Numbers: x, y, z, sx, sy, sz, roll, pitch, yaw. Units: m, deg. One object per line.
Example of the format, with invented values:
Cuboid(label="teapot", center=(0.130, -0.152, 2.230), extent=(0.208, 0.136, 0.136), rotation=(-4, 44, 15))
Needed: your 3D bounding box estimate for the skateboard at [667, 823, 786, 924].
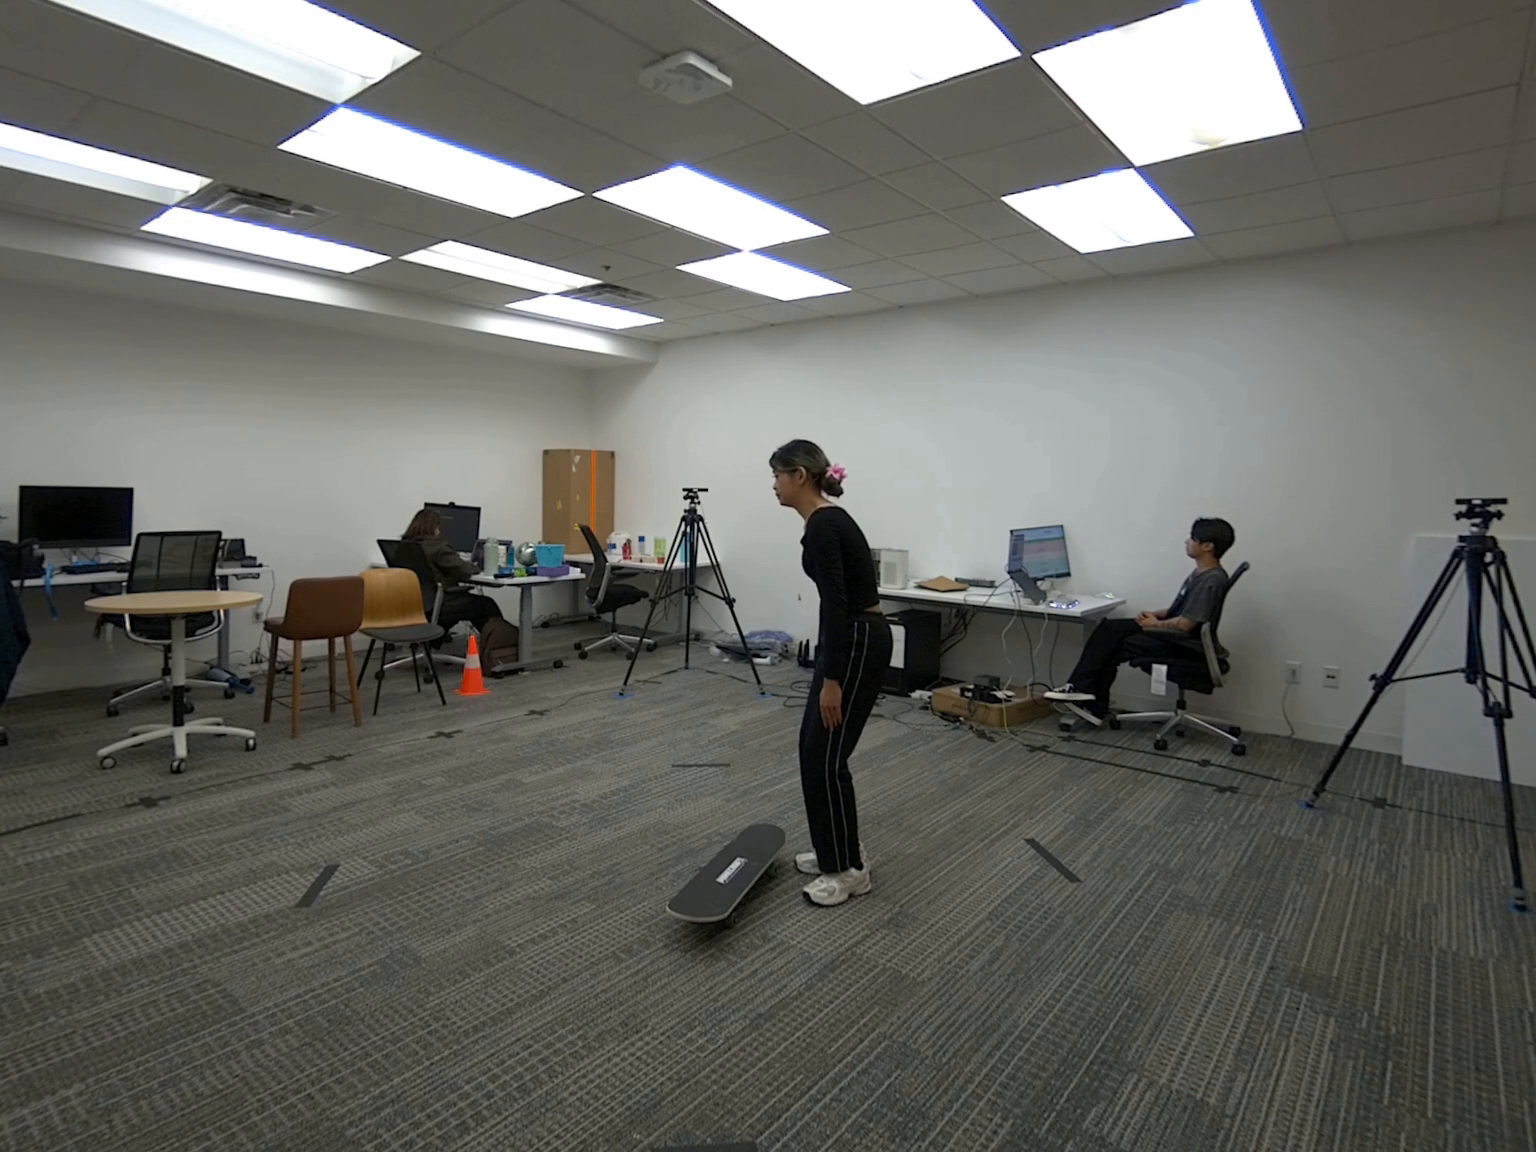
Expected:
Cuboid(label="skateboard", center=(-0.129, 1.031, 2.910), extent=(0.198, 0.110, 0.771), rotation=(3, 6, 19))
